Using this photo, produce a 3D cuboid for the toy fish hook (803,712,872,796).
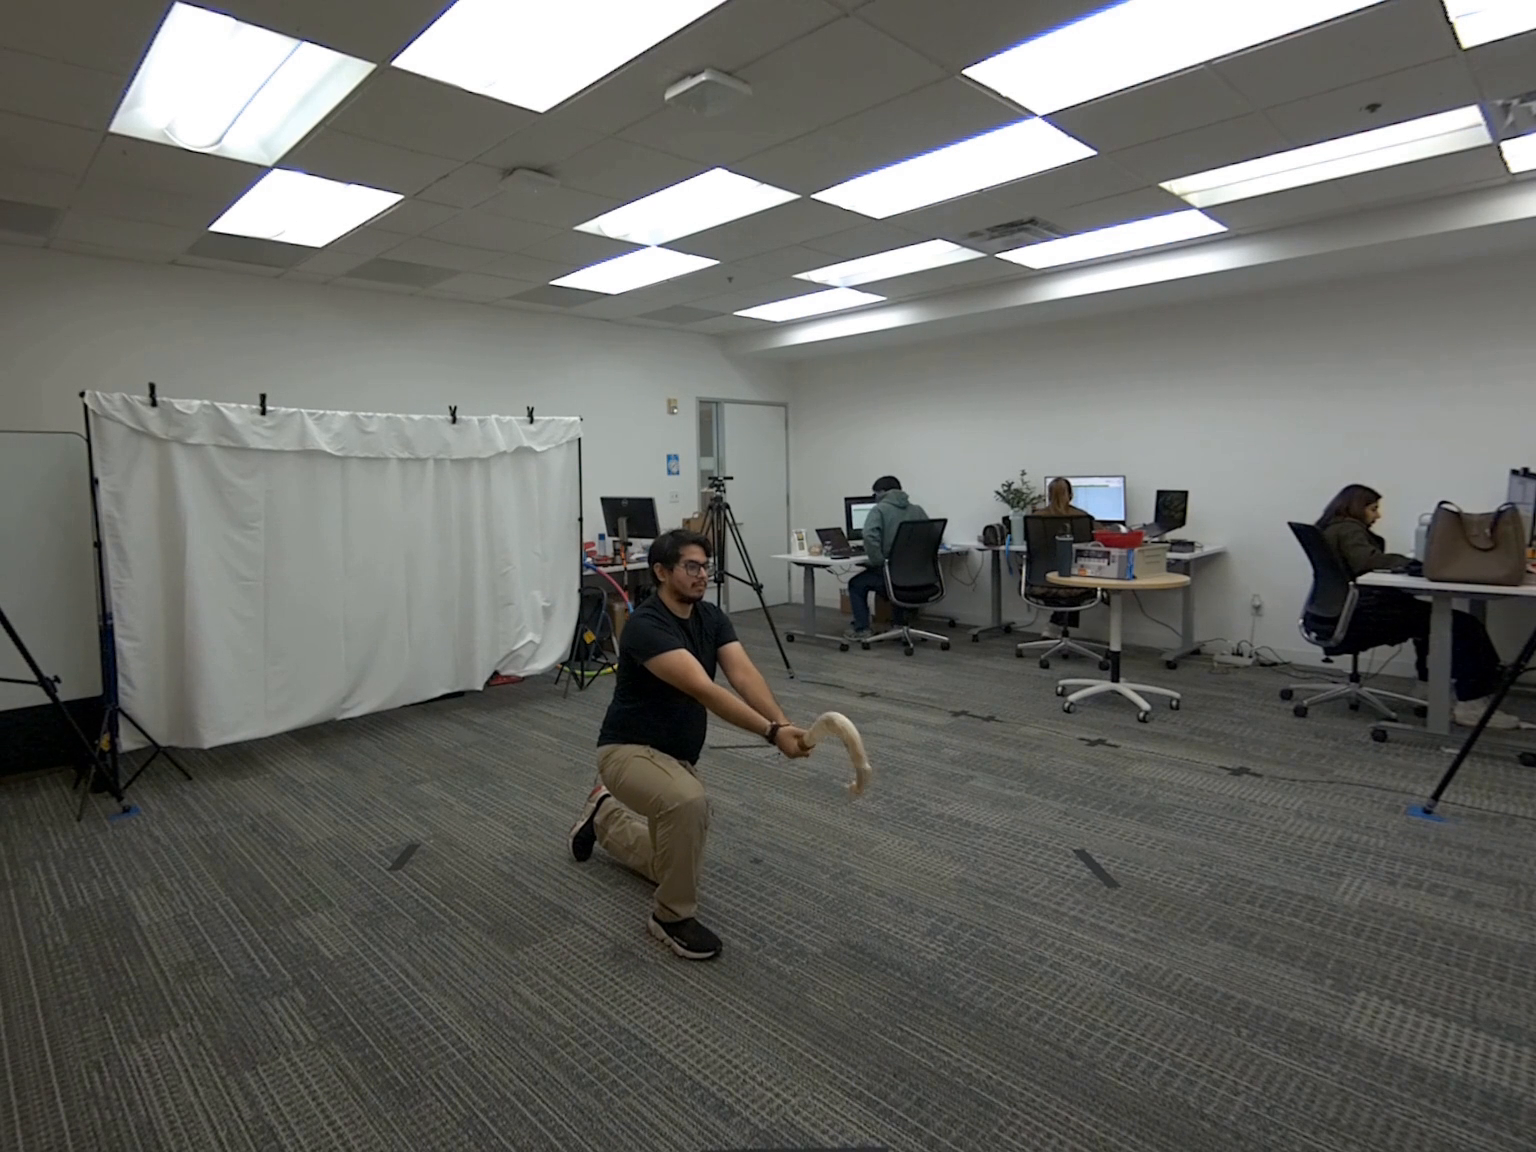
[{"bbox_3d":[0.158,0.502,2.336,0.047,0.227,0.508,-13,-10,-22],"label":"toy fish hook"}]
